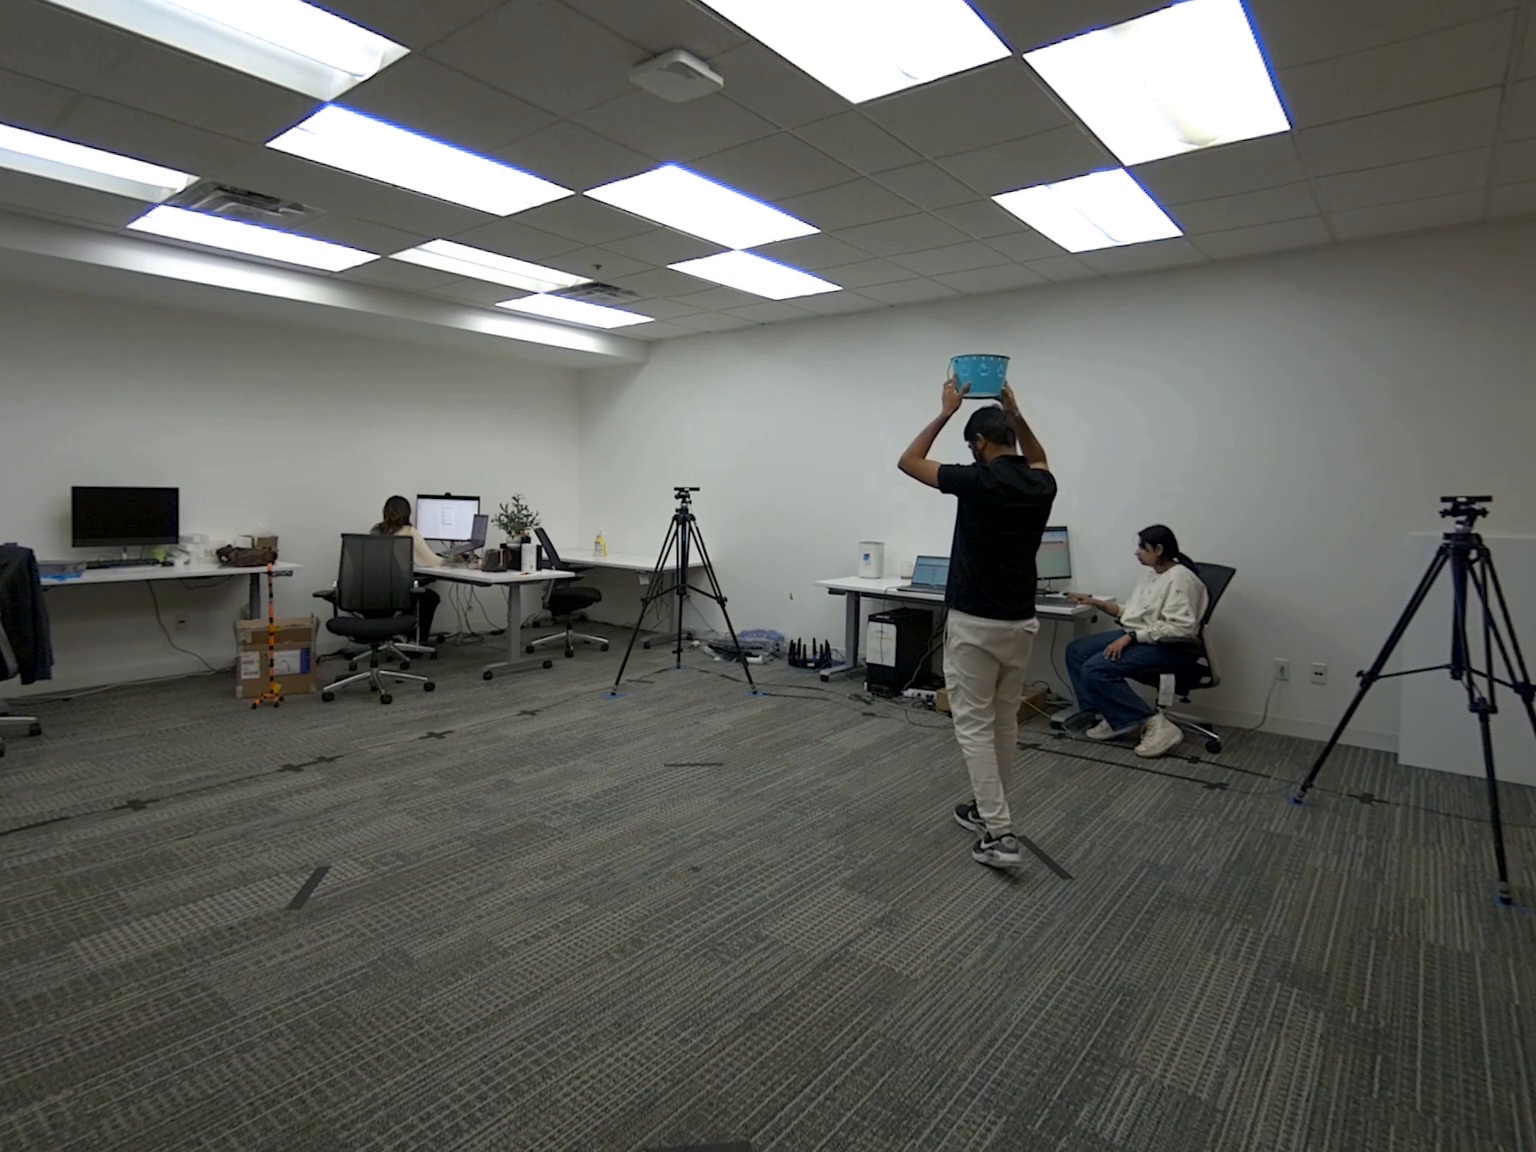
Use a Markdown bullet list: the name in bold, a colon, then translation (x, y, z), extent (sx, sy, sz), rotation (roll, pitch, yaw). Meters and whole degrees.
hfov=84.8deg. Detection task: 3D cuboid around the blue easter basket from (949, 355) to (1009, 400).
- **blue easter basket**: translation (0.856, -0.807, 3.431), extent (0.243, 0.155, 0.244), rotation (4, 4, -2)
